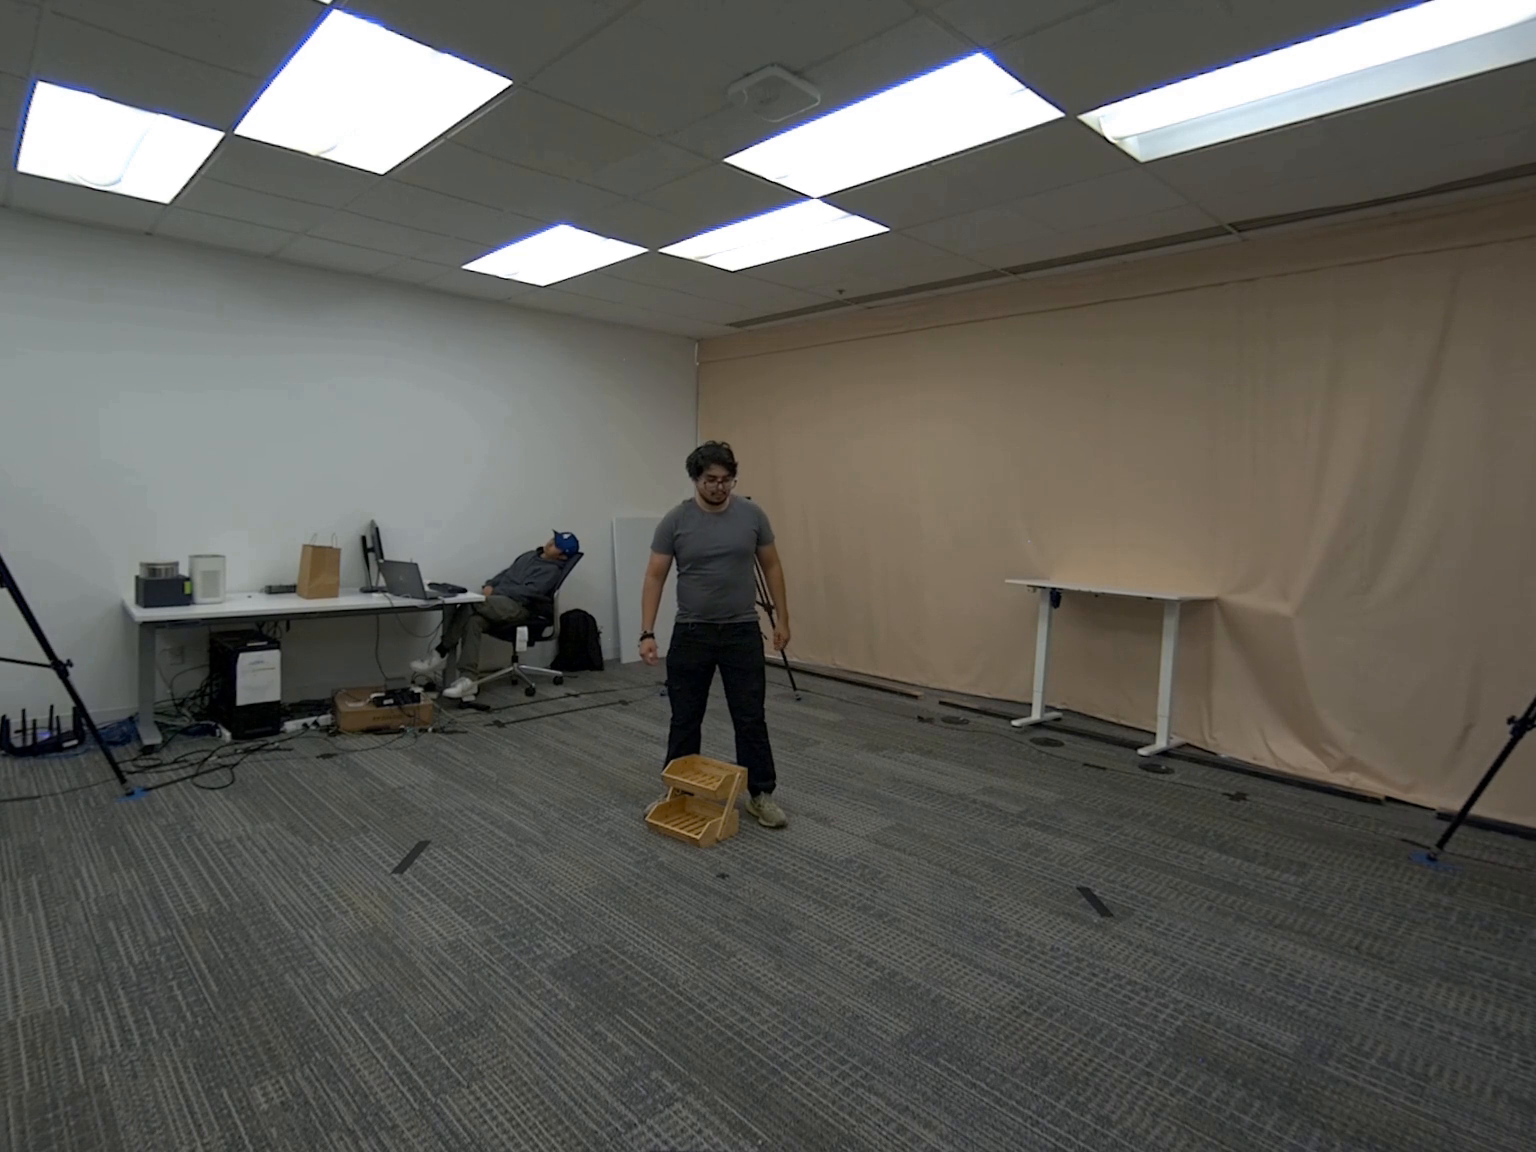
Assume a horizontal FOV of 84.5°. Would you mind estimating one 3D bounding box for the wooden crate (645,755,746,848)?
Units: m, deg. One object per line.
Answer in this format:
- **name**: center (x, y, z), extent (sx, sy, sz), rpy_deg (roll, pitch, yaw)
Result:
- **wooden crate**: center (-0.310, 0.935, 3.522), extent (0.332, 0.273, 0.295), rpy_deg (4, 4, 37)
